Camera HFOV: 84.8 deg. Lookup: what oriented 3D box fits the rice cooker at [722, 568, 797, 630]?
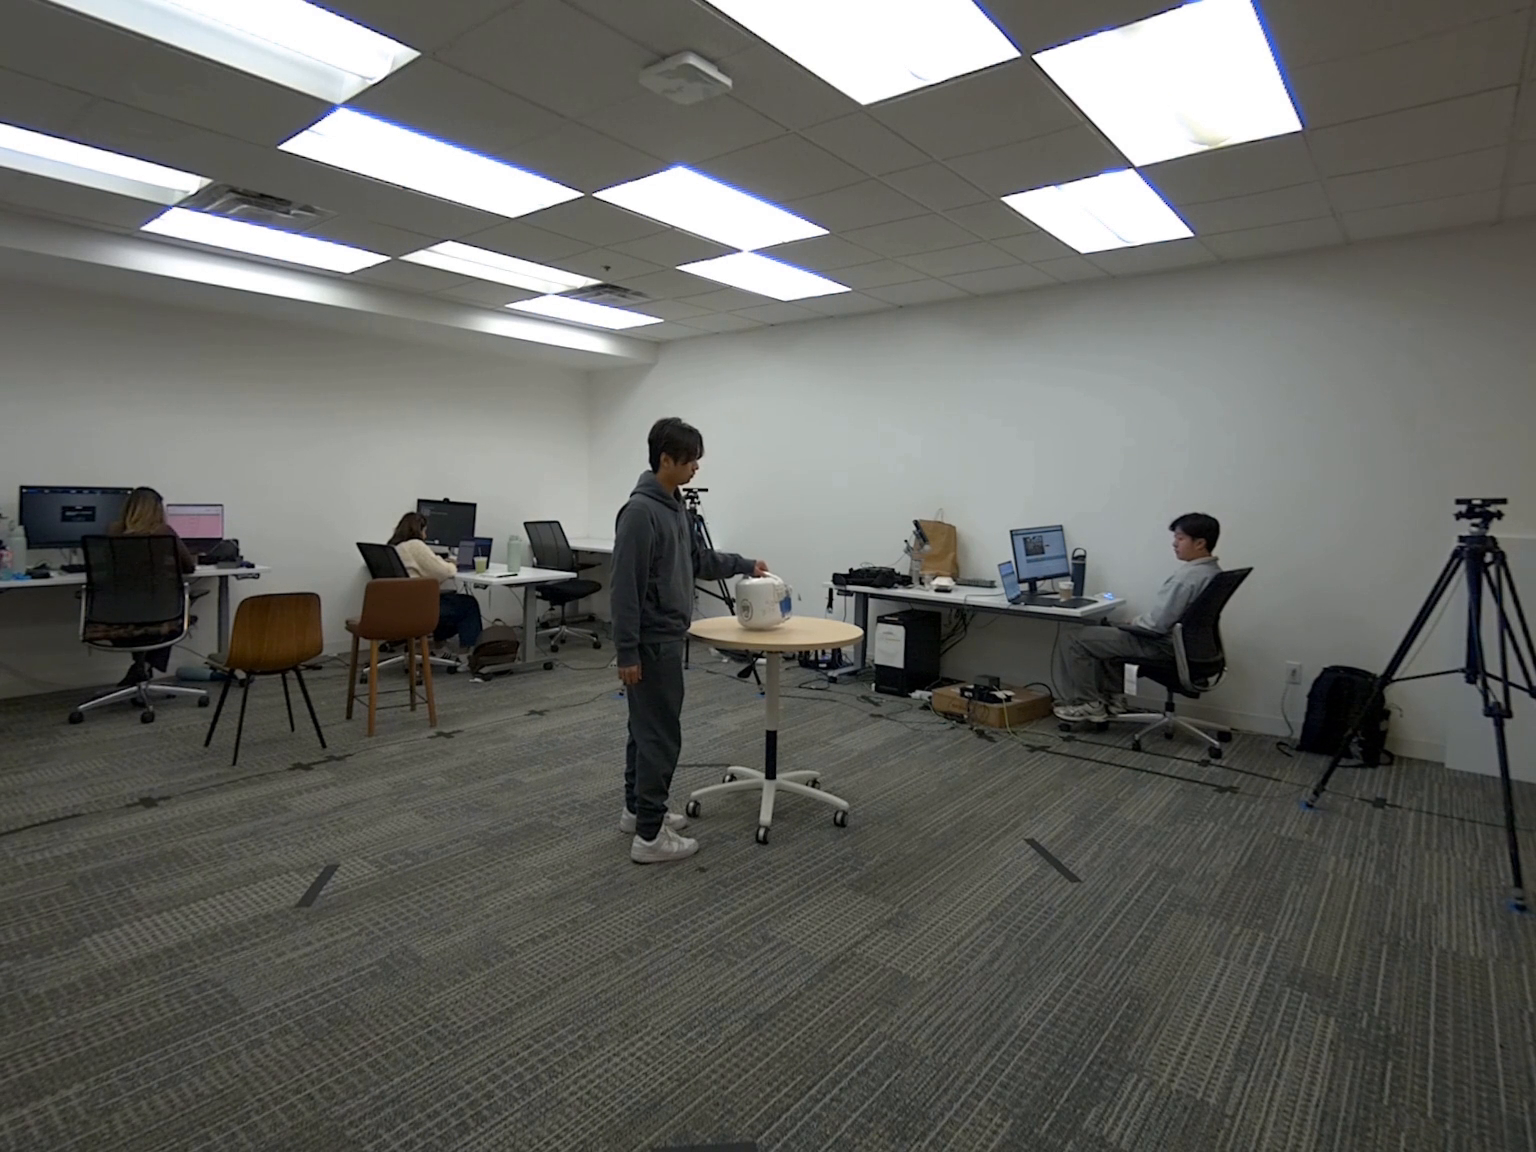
[{"bbox_3d":[-0.038,0.095,3.630,0.227,0.232,0.212,-2,4,35],"label":"rice cooker"}]
